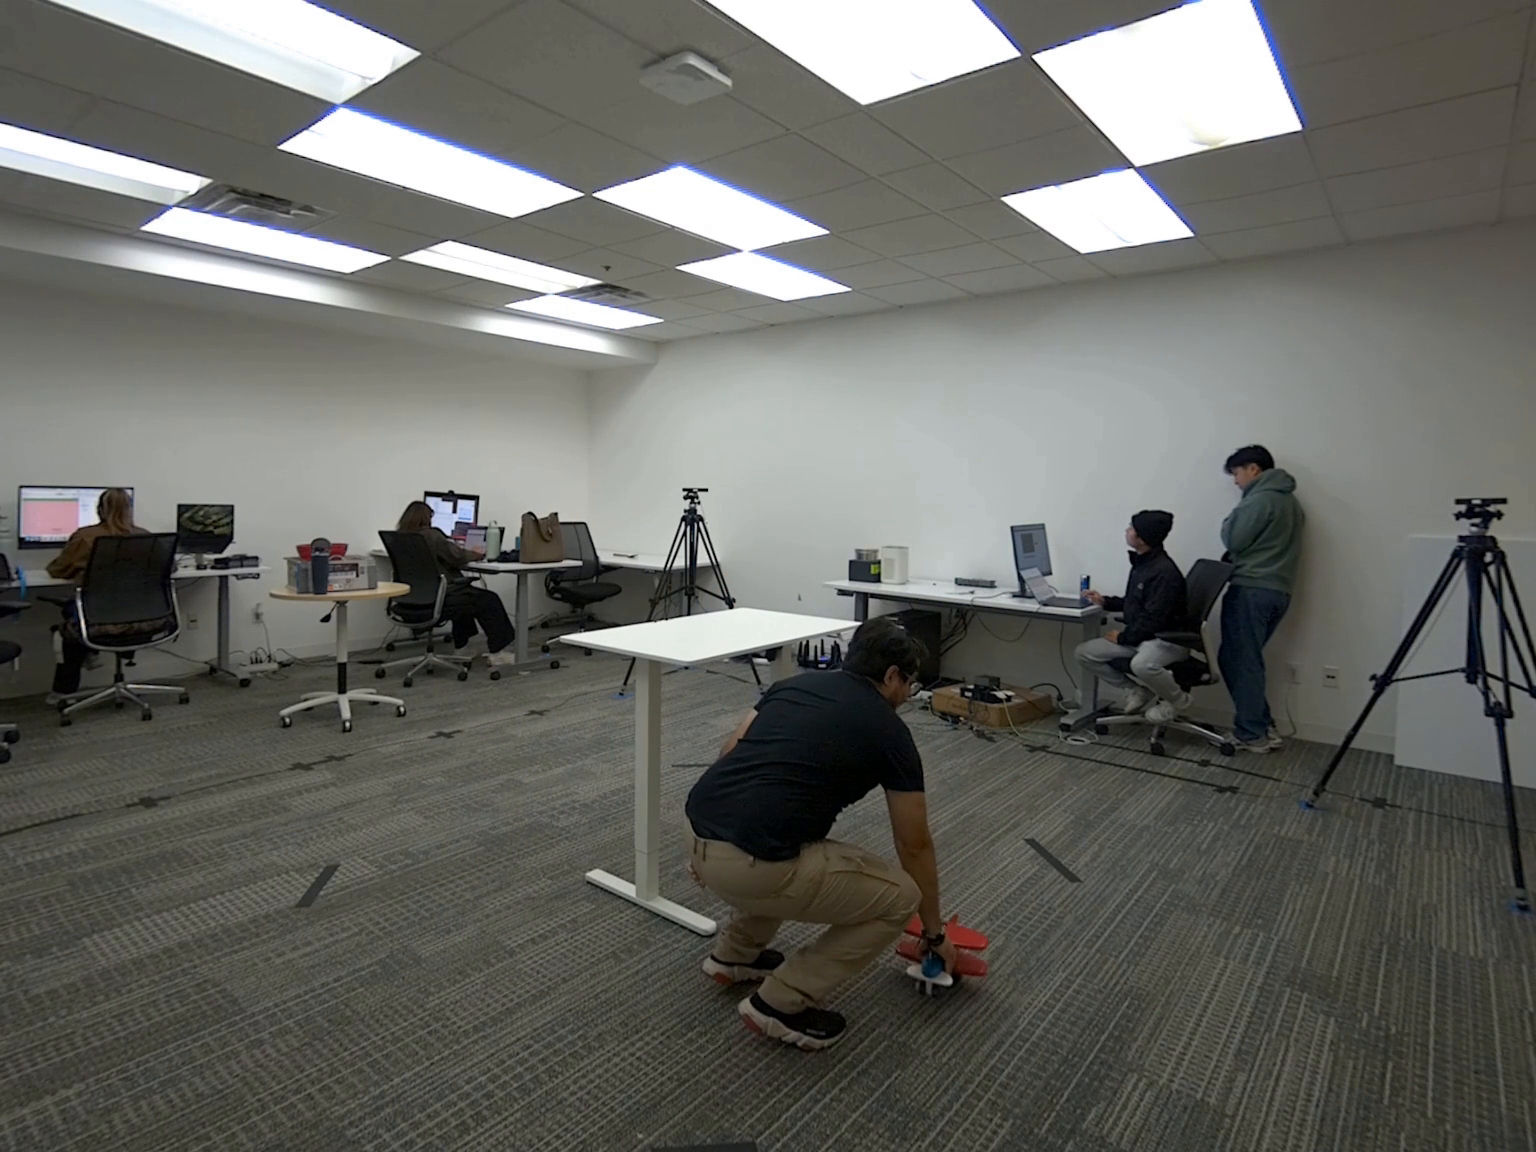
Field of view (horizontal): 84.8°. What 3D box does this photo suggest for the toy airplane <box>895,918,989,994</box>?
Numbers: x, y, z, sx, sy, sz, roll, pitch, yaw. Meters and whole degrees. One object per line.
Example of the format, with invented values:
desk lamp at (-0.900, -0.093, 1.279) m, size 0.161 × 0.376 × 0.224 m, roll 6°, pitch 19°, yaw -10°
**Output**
toy airplane at (0.492, 1.076, 2.376) m, size 0.250 × 0.157 × 0.259 m, roll 6°, pitch -5°, yaw -3°
